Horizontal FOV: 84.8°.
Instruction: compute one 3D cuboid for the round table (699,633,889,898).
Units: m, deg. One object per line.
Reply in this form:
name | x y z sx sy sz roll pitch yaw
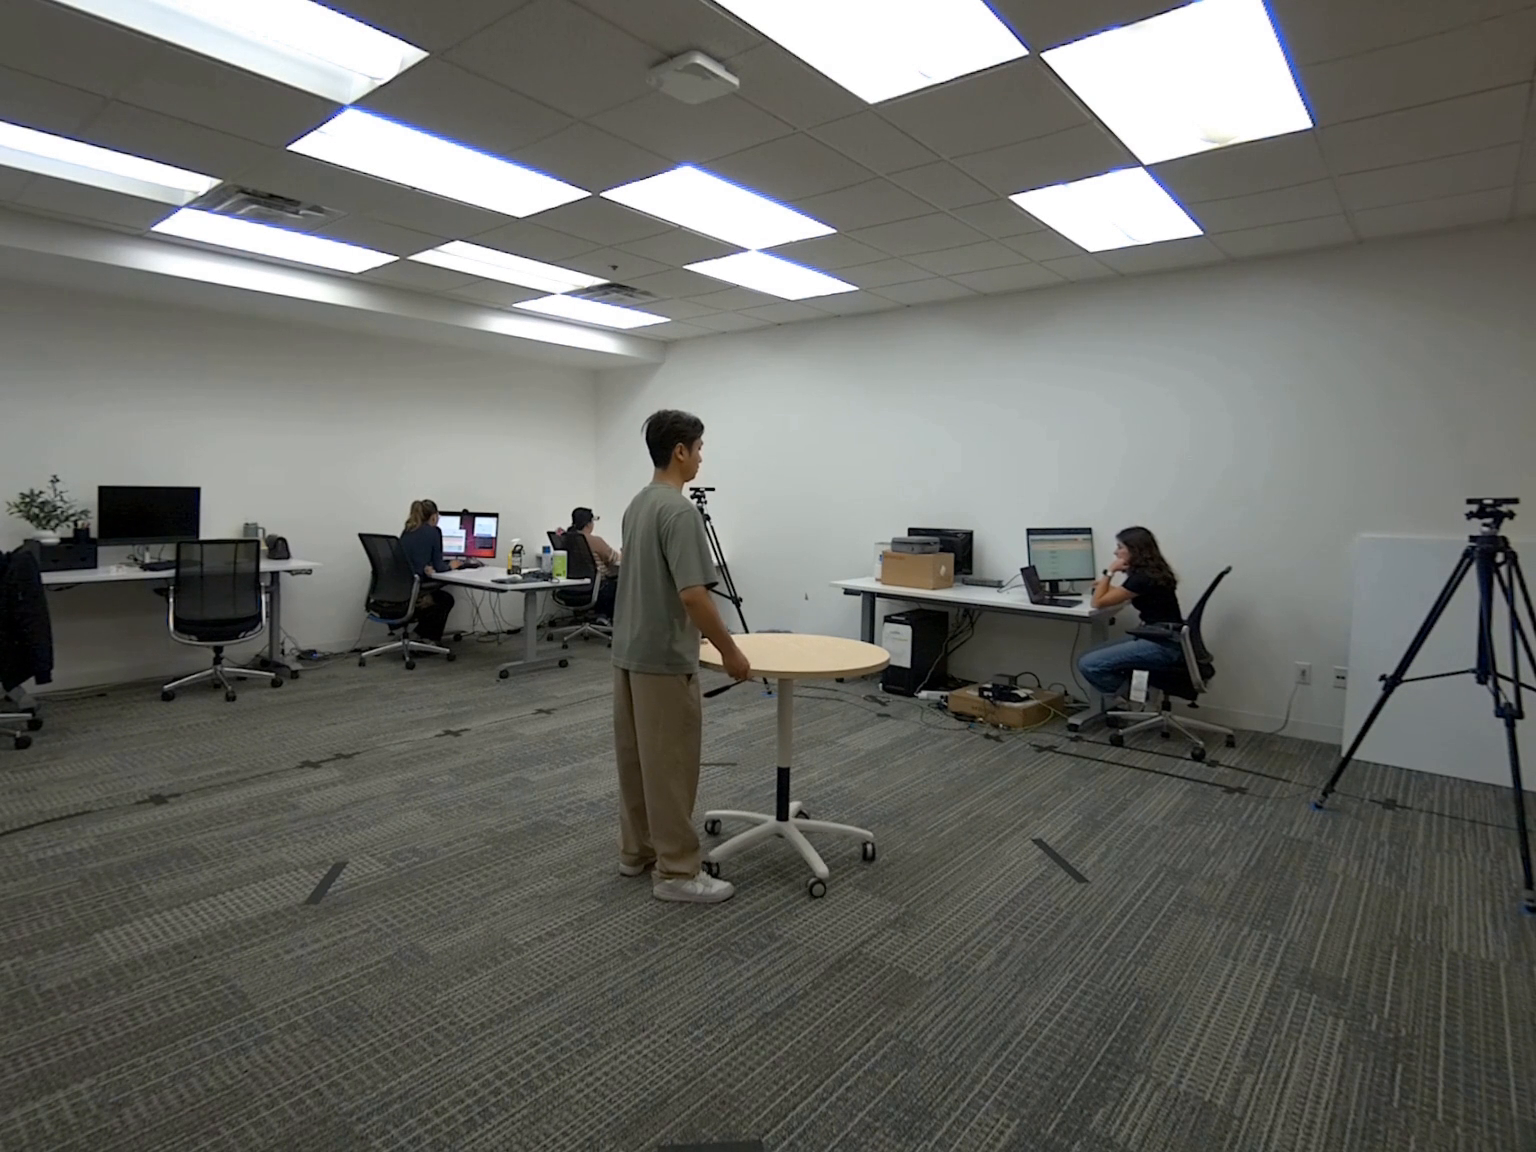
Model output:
round table | 0.067 0.670 3.208 0.784 0.784 0.789 0 4 -2
